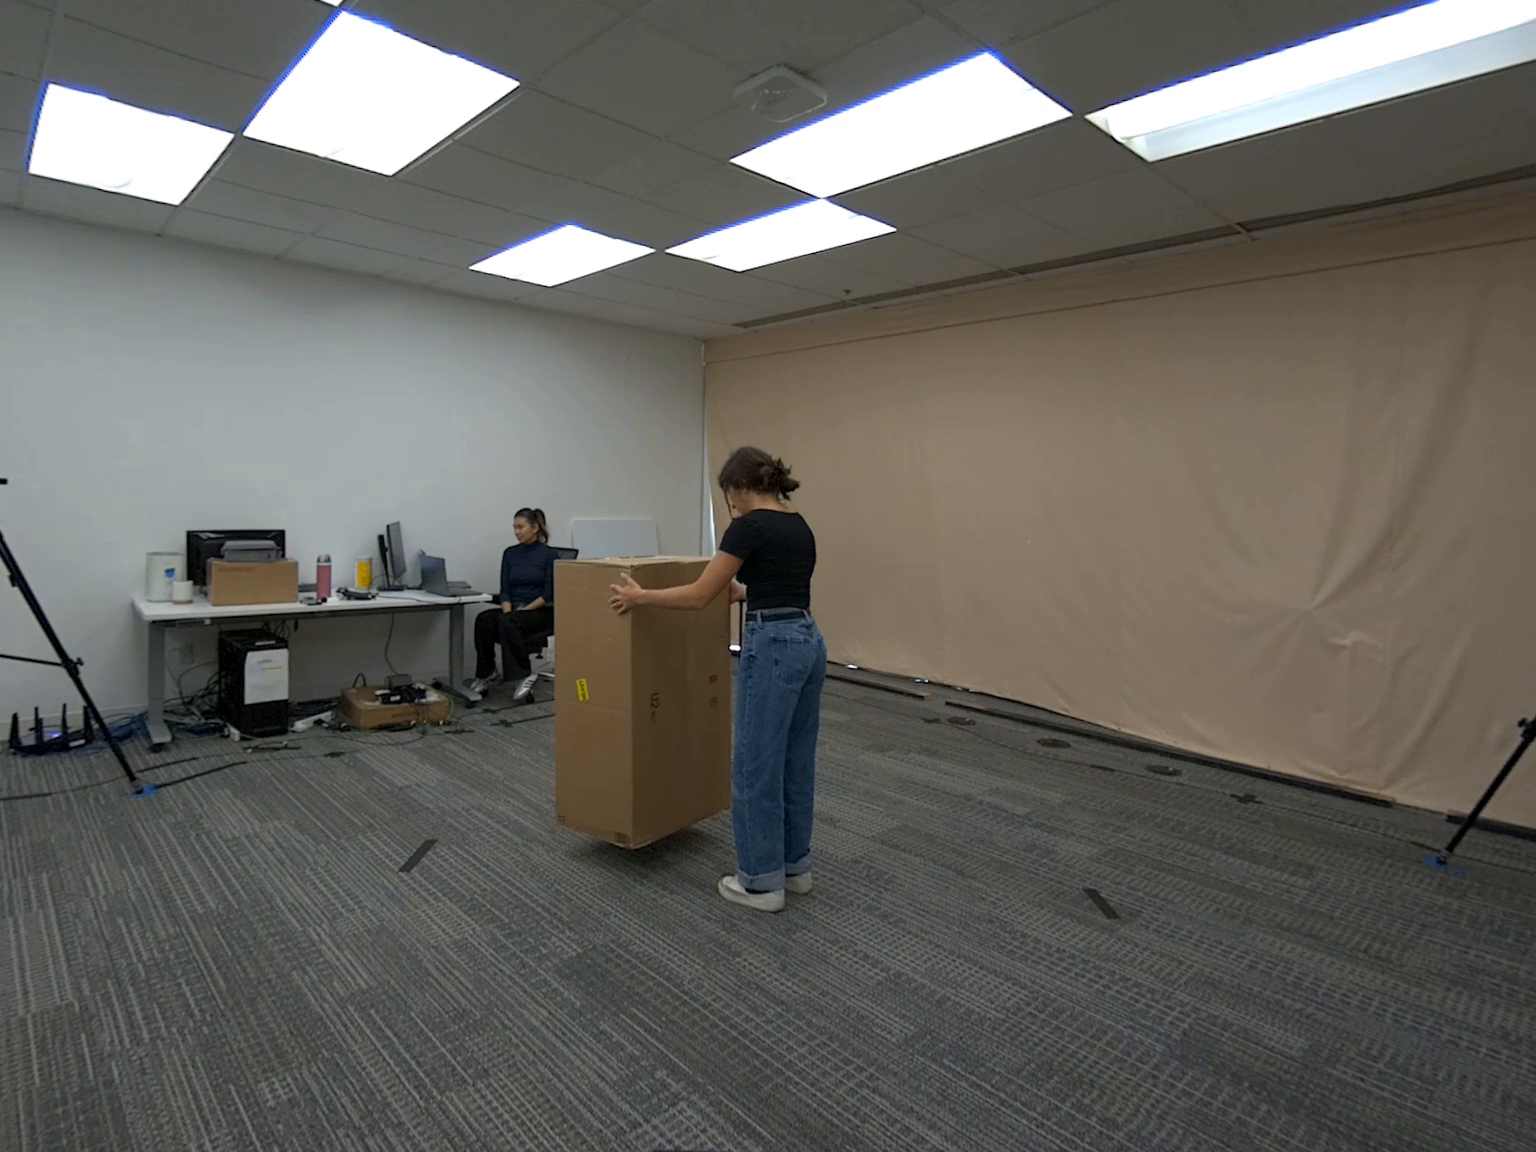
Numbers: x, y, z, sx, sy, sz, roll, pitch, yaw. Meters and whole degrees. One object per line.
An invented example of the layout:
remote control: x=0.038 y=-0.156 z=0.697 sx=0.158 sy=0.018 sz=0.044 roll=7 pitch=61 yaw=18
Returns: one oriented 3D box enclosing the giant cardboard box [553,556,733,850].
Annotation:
giant cardboard box: x=-0.492 y=0.445 z=3.338 sx=0.436 sy=1.024 sz=0.565 roll=2 pitch=3 yaw=37
